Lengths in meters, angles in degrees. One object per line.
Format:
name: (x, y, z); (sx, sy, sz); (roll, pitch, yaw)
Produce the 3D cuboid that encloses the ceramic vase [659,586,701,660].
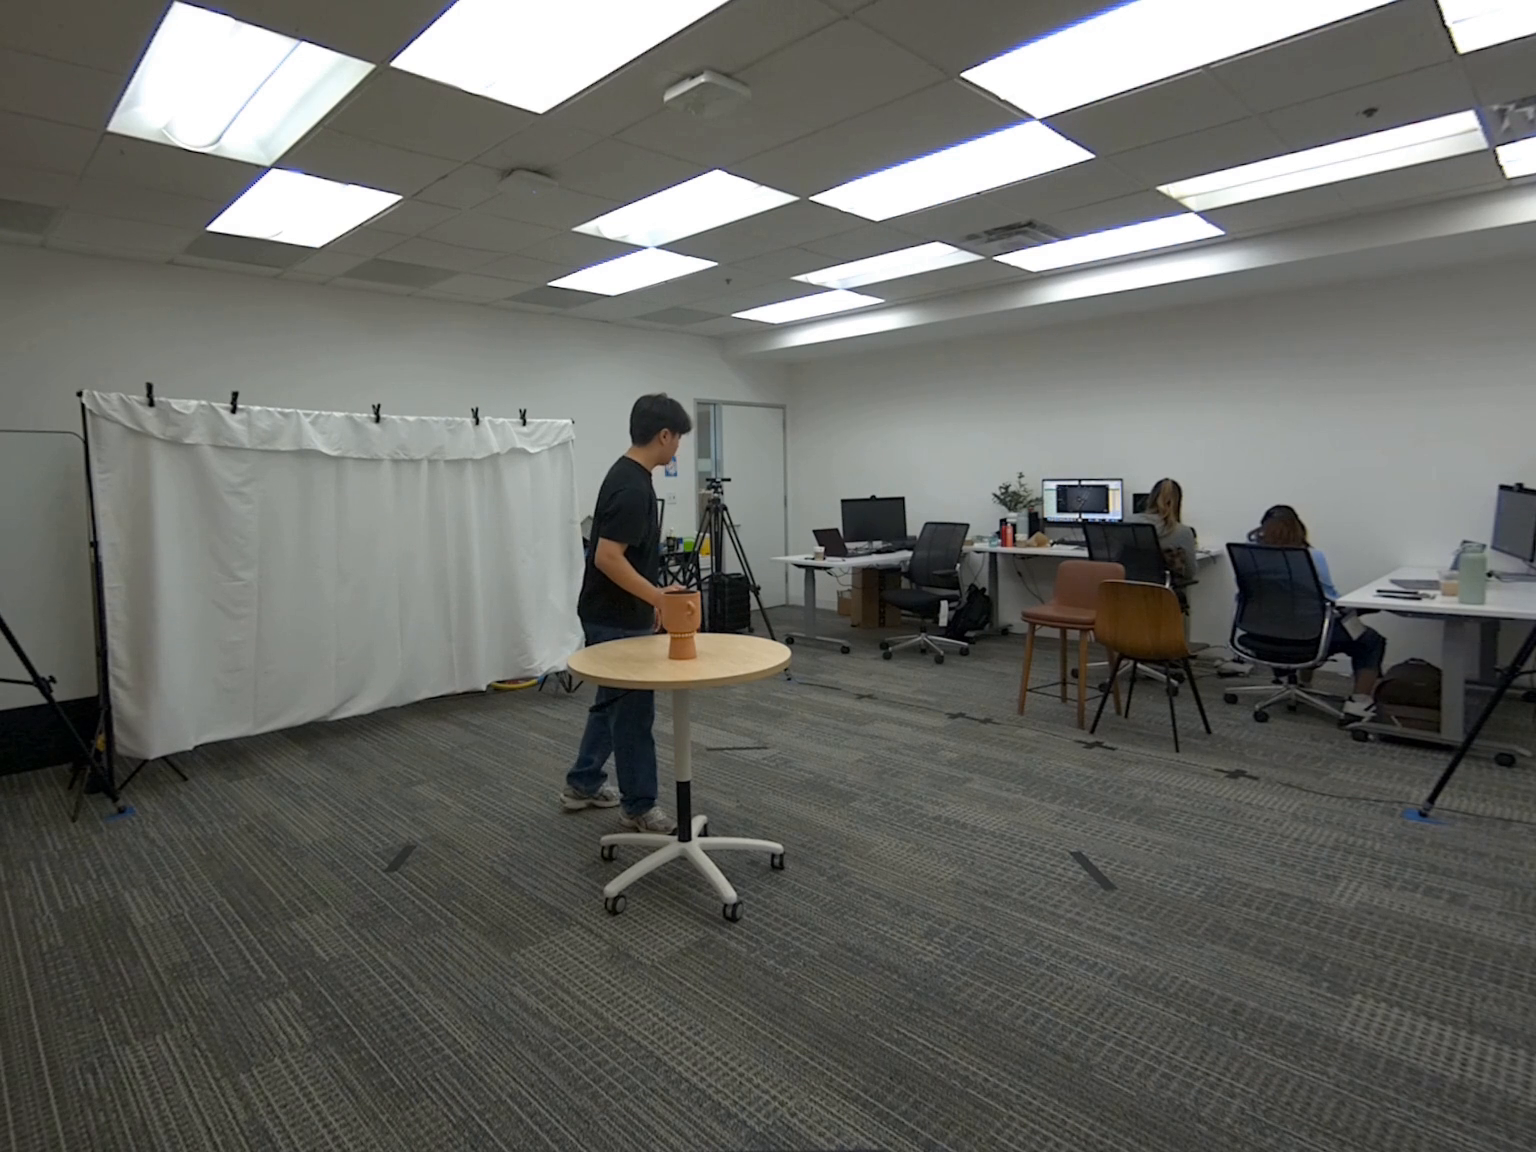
ceramic vase: (-0.283, 0.167, 2.881); (0.136, 0.219, 0.158); (0, 5, 9)
